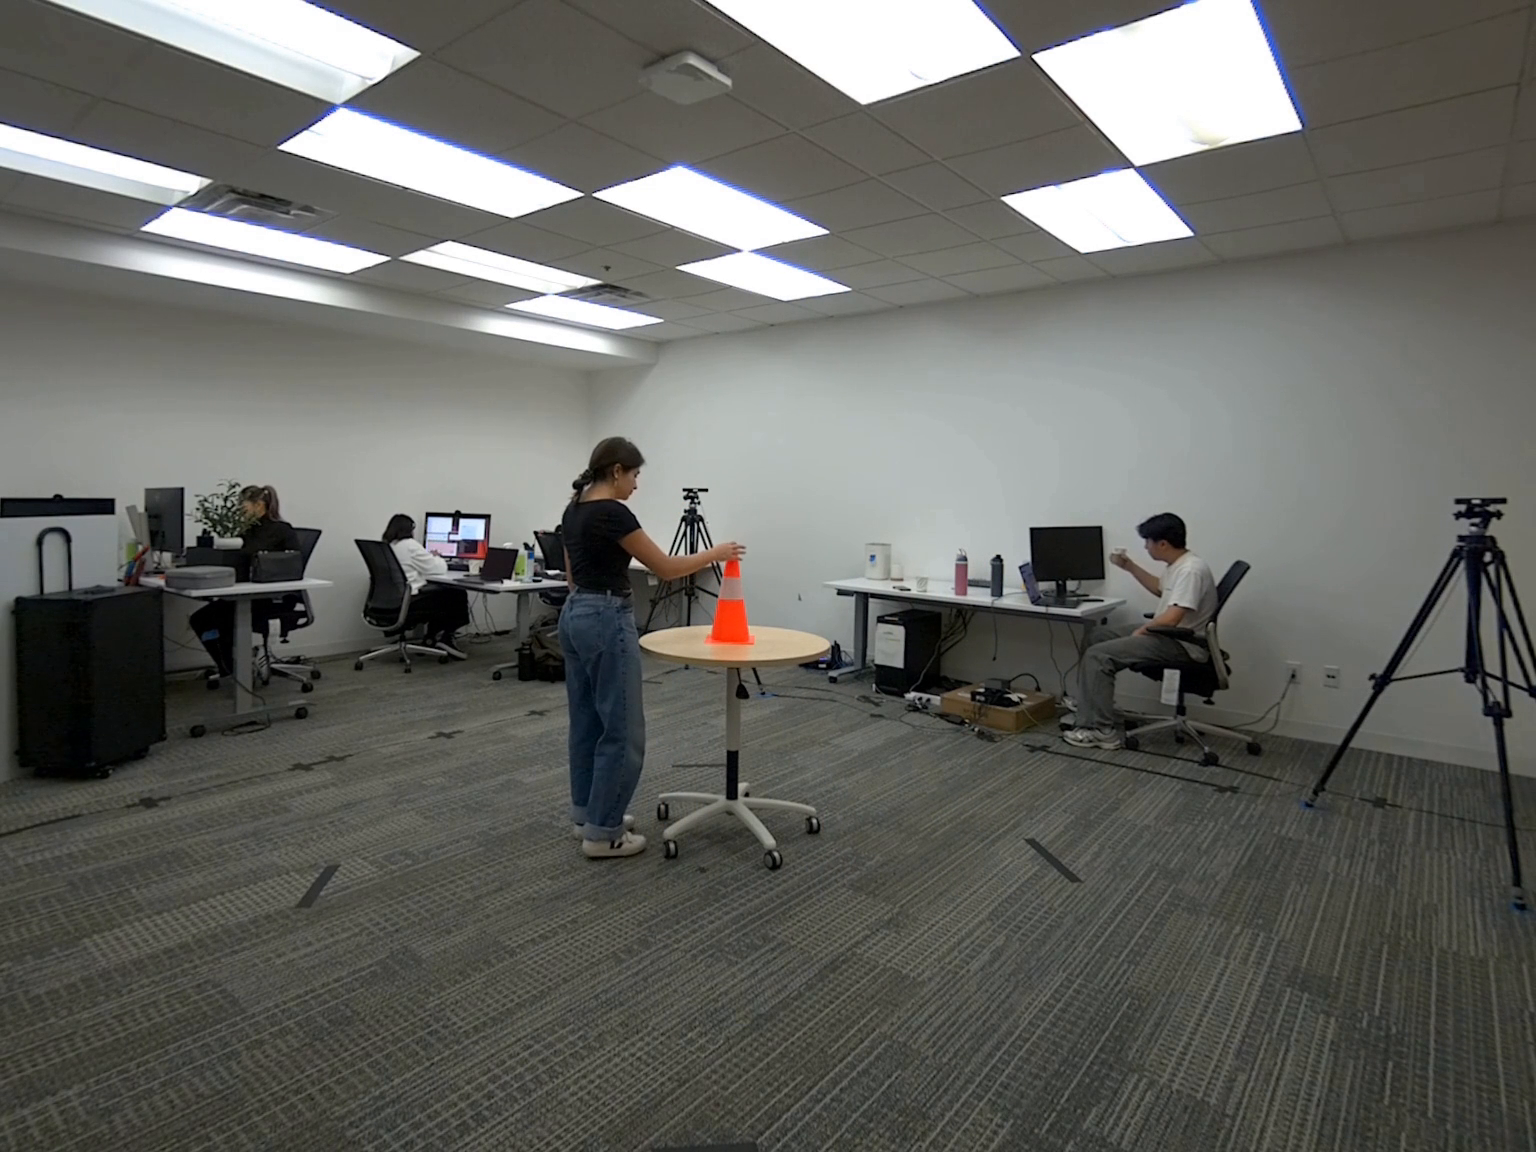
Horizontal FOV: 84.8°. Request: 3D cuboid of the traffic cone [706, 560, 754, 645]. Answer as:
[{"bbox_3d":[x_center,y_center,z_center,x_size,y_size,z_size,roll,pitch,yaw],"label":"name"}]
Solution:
[{"bbox_3d":[-0.145,0.067,3.439,0.204,0.383,0.204,3,3,-4],"label":"traffic cone"}]
